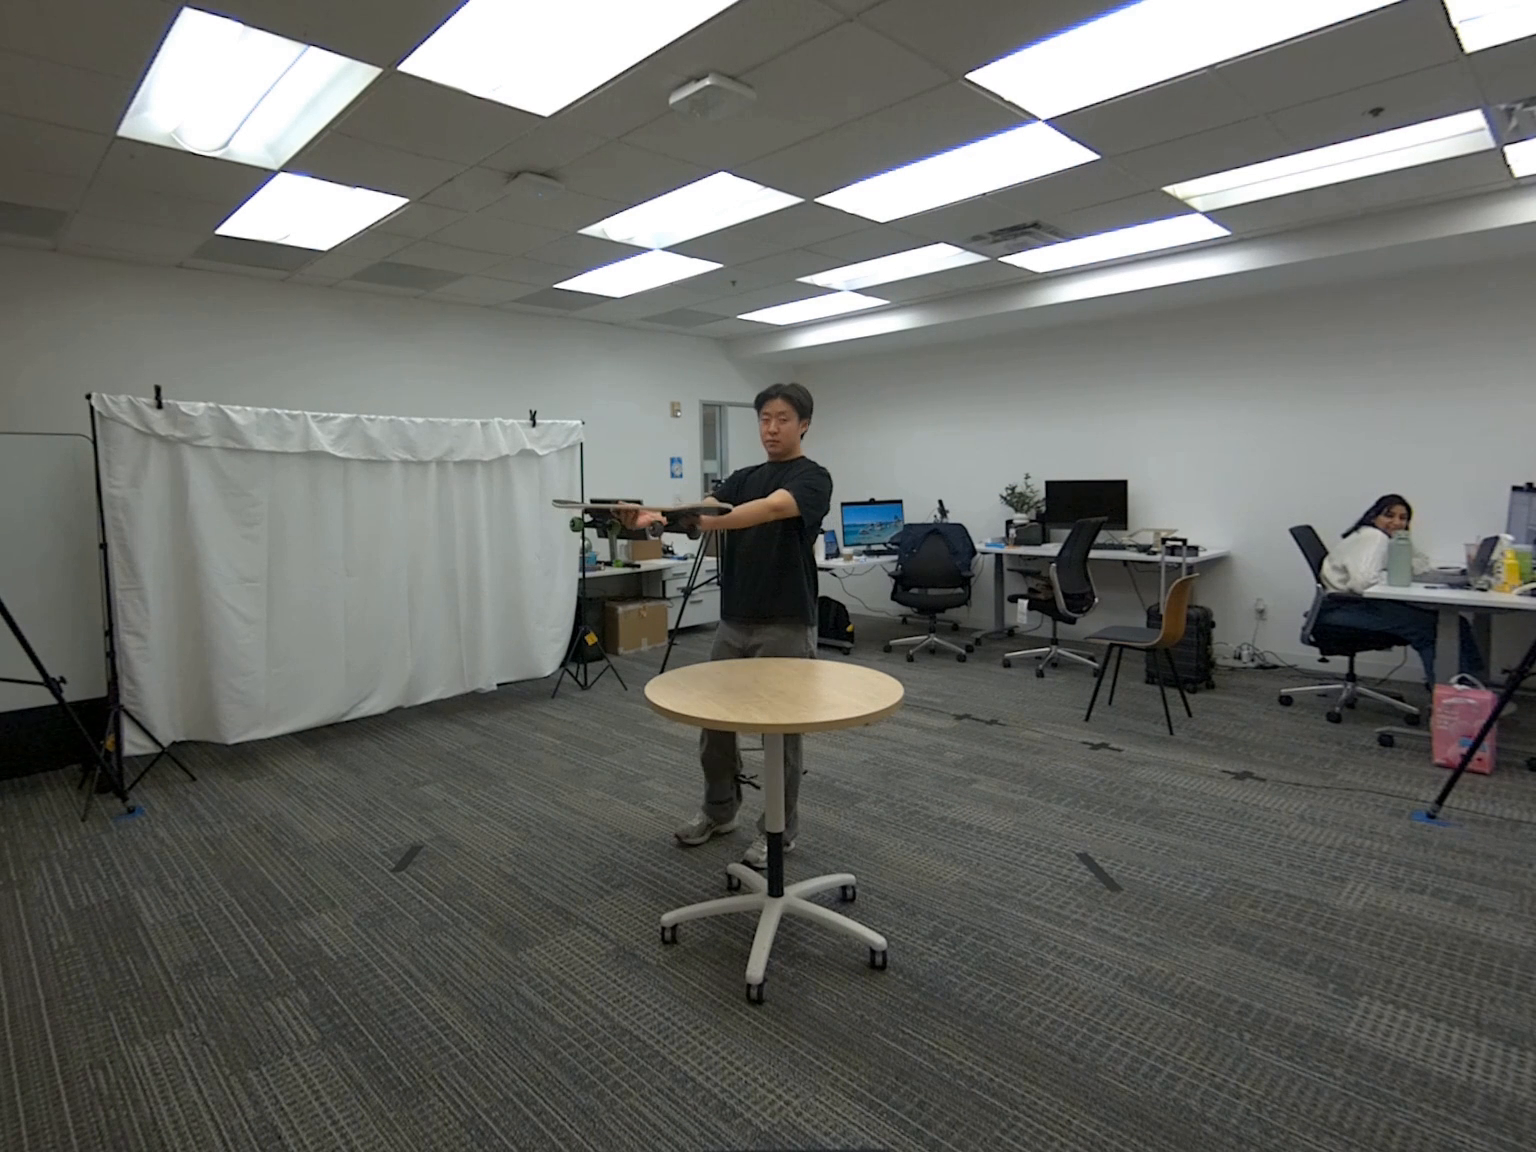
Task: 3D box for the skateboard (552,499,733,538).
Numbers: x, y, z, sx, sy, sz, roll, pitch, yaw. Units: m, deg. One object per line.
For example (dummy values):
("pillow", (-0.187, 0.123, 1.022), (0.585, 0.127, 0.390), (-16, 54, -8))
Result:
("skateboard", (-0.416, -0.184, 2.691), (0.810, 0.110, 0.187), (6, 1, 44))
